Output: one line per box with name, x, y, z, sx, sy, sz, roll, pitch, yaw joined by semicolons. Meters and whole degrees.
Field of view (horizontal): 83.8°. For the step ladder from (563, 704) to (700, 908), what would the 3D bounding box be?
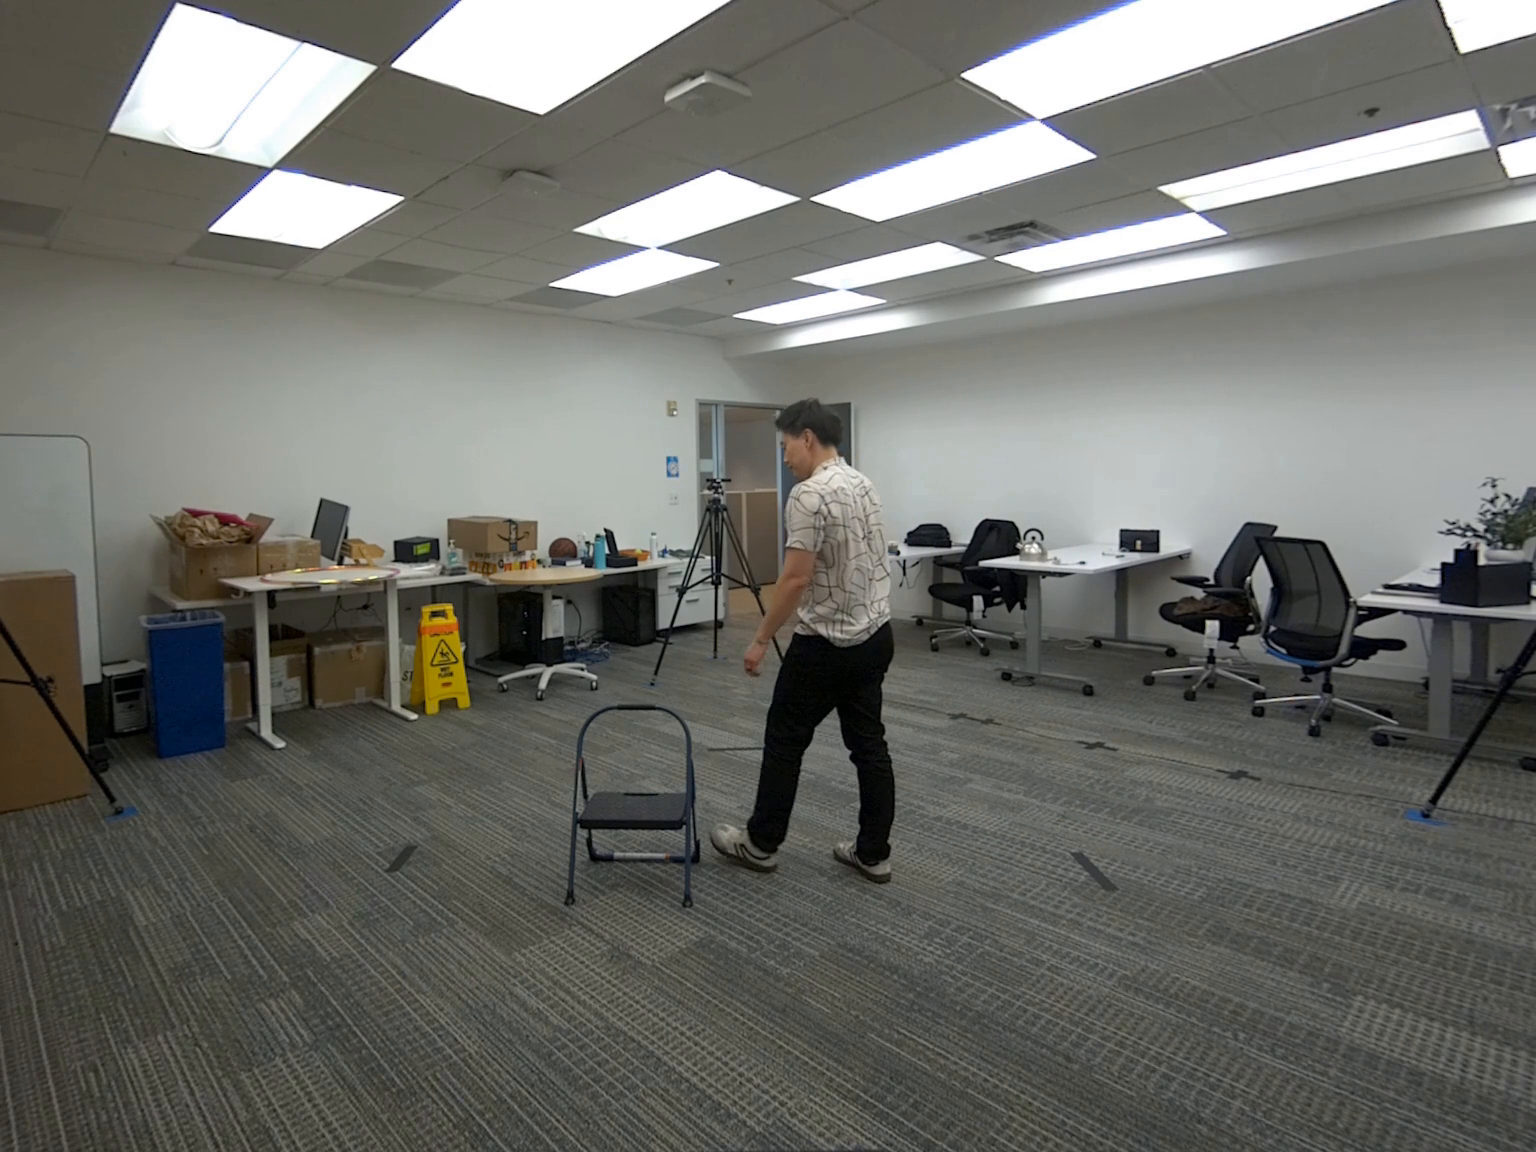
step ladder;-0.467;0.772;2.959;0.432;0.603;0.350;-2;5;2
